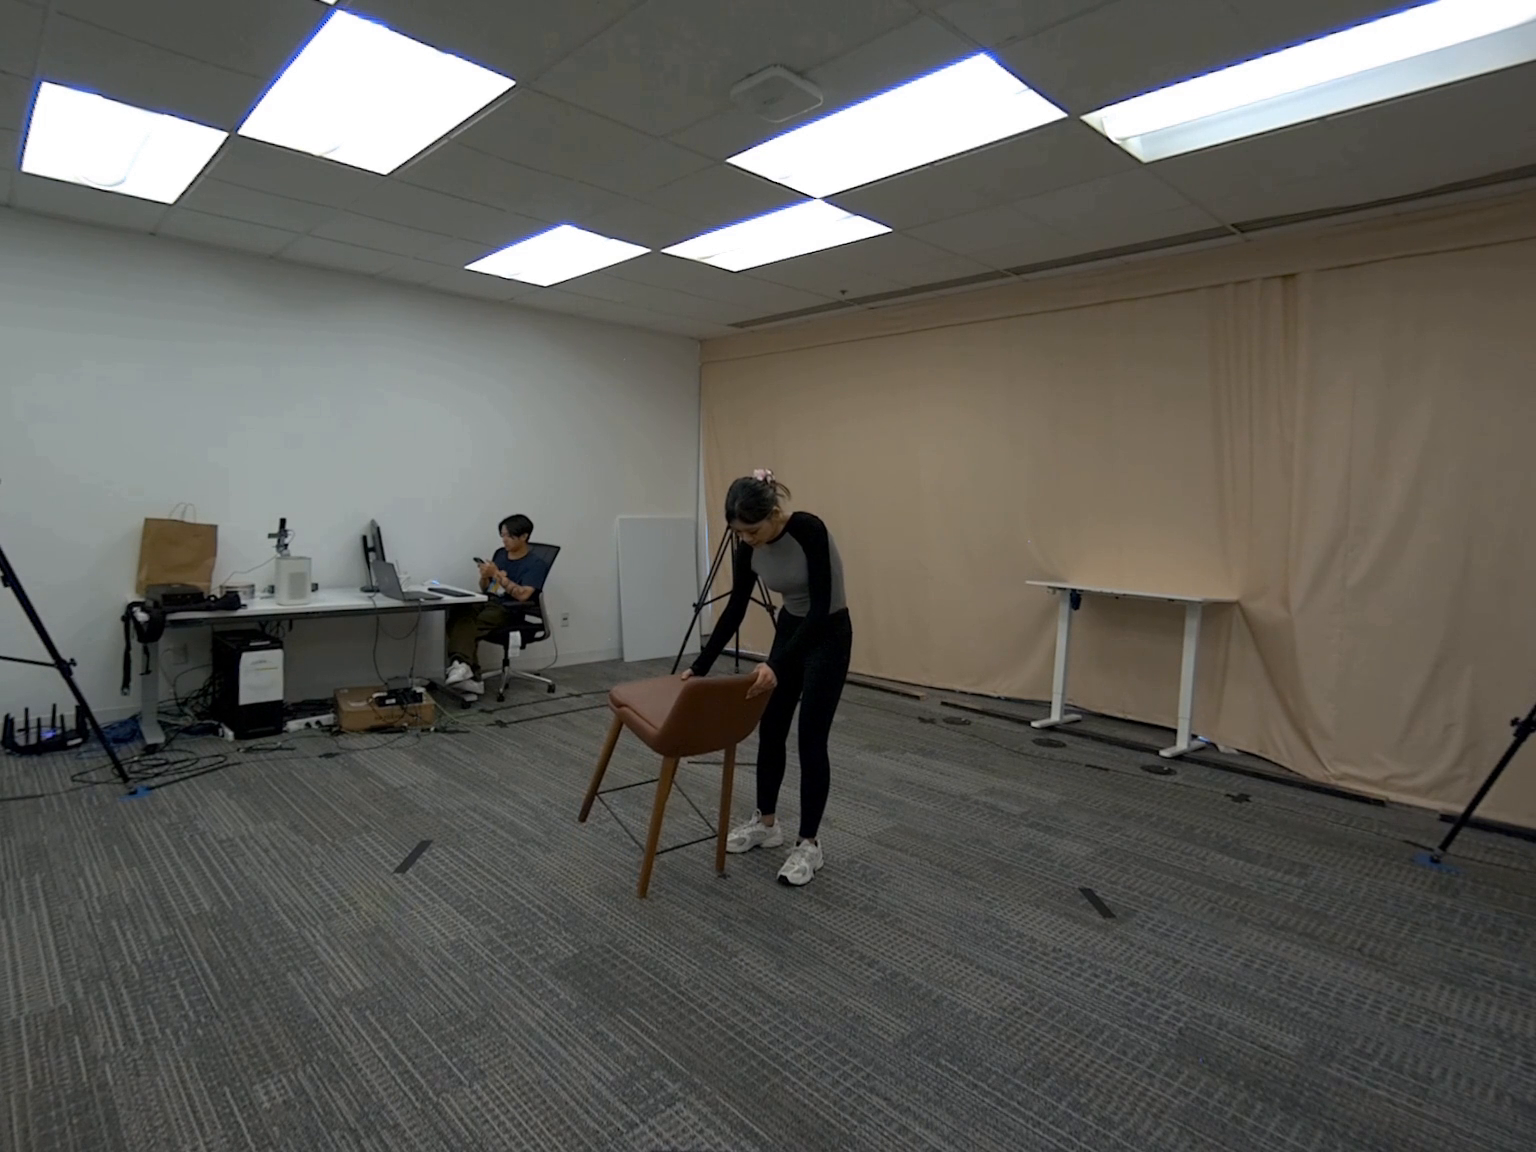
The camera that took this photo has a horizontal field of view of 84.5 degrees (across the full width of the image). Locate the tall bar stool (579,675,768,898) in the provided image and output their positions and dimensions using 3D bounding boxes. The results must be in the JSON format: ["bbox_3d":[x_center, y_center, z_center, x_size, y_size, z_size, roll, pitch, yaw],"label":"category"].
[{"bbox_3d":[-0.339,0.632,3.041,0.446,0.881,0.483,-1,25,-40],"label":"tall bar stool"}]
